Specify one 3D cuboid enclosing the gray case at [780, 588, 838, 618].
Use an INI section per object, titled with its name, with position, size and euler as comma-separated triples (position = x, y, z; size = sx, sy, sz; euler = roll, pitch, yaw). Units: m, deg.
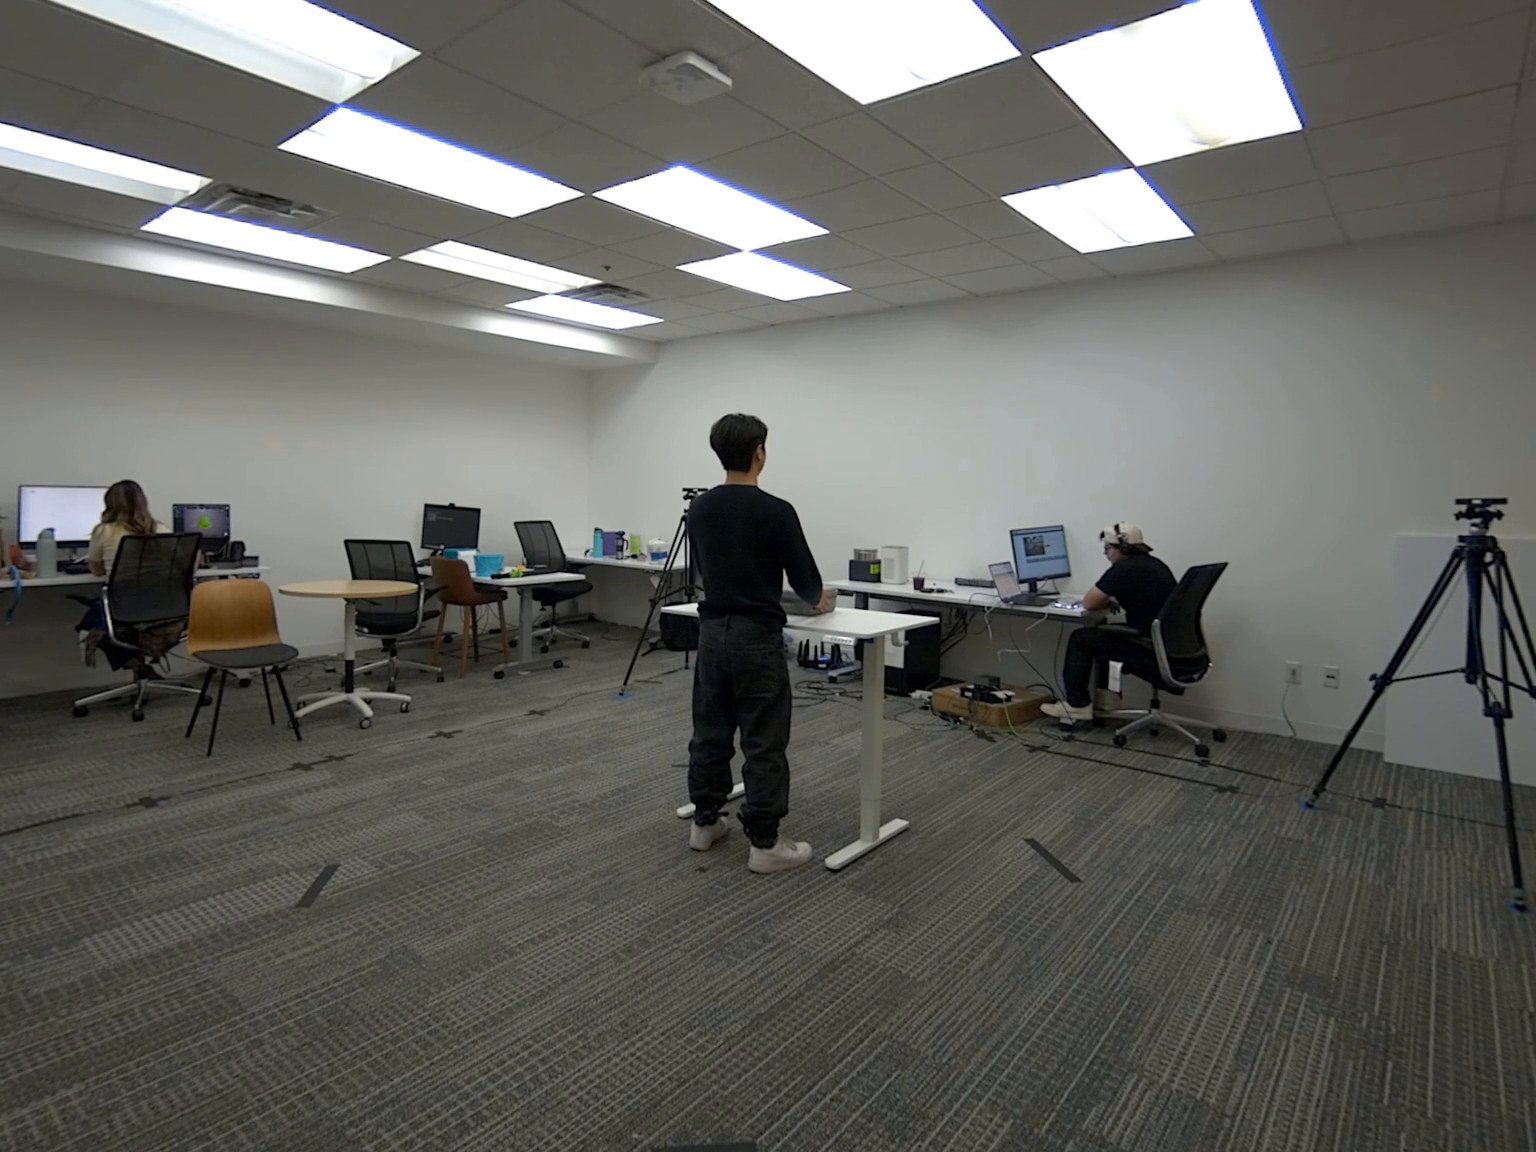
[gray case]
position = 0.123, 0.094, 3.597
size = 0.265, 0.104, 0.253
euler = 5, 5, 35
